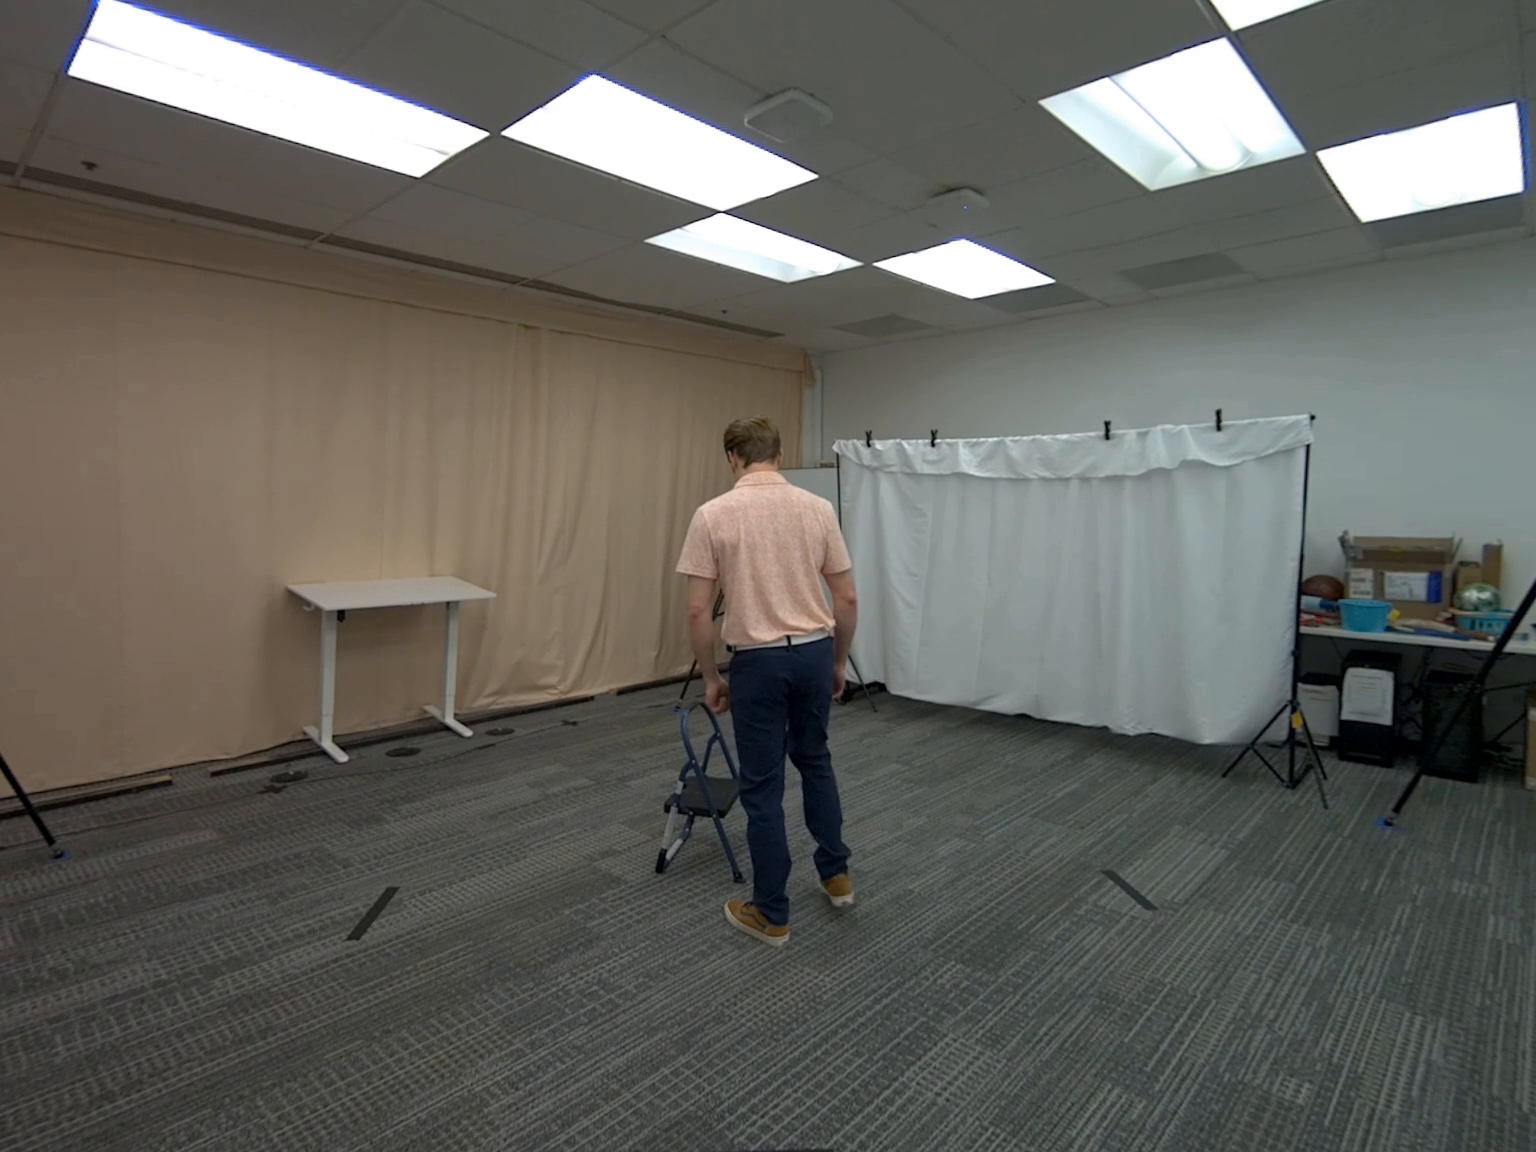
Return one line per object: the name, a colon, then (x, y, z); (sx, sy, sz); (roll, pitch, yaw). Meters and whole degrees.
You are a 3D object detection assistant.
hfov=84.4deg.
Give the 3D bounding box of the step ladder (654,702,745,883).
step ladder: (-0.226, 0.812, 3.337); (0.354, 0.605, 0.426); (0, 4, 11)
